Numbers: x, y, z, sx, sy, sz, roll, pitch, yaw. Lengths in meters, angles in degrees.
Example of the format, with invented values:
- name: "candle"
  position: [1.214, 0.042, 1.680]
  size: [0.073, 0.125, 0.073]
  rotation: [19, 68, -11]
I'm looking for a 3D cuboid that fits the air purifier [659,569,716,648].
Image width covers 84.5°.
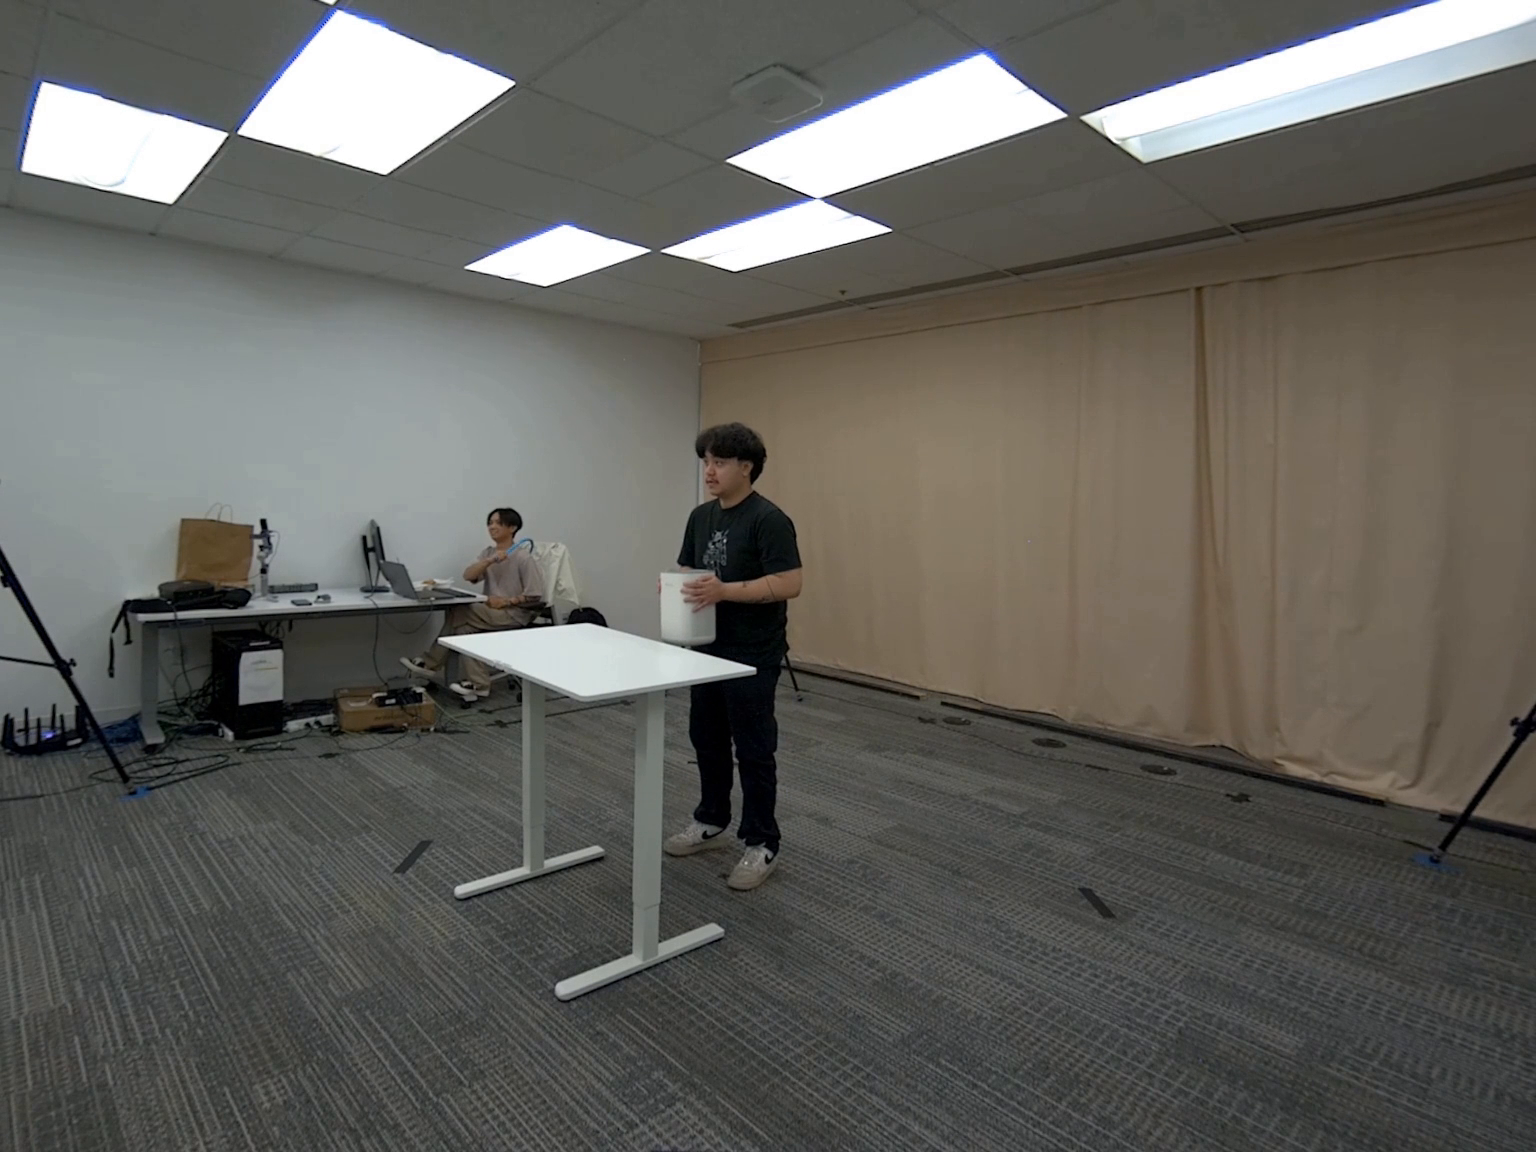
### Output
- name: "air purifier"
  position: [-0.291, 0.114, 3.049]
  size: [0.167, 0.265, 0.175]
  rotation: [-2, 4, -45]
